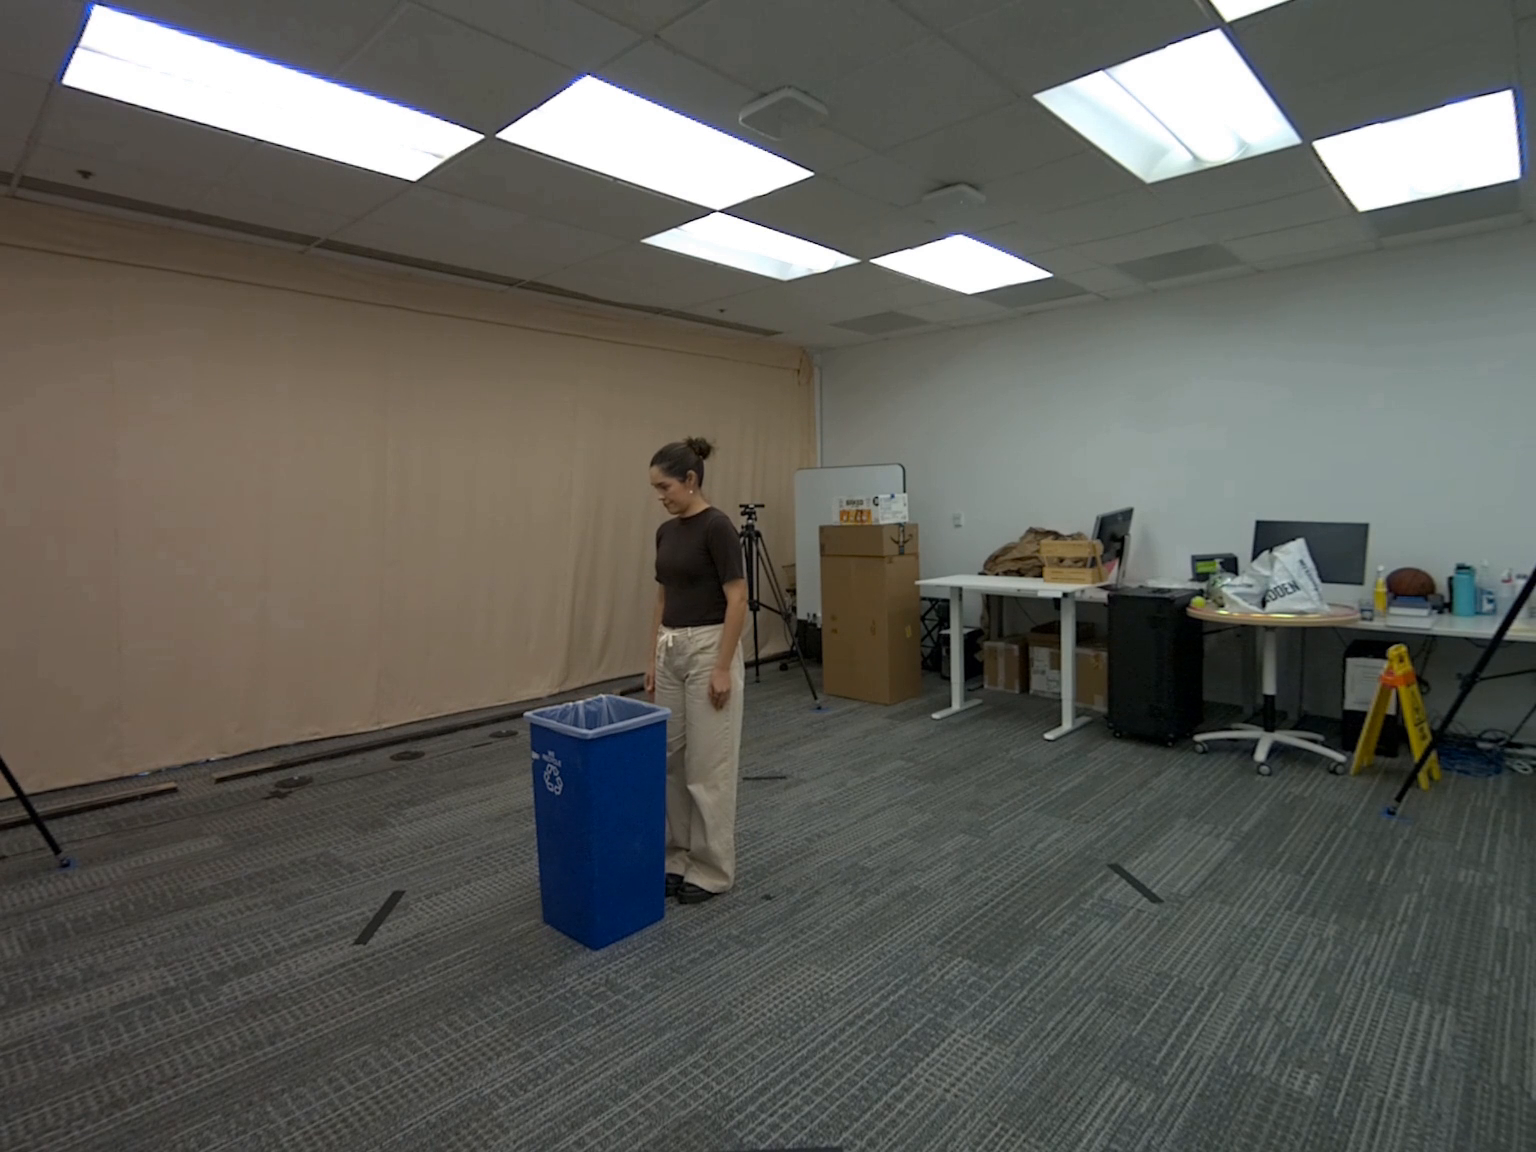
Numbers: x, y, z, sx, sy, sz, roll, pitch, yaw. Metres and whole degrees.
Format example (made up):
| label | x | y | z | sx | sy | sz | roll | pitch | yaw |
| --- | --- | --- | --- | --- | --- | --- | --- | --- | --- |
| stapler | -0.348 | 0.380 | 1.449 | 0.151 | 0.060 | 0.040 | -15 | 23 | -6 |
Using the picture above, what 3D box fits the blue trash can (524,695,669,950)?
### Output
| label | x | y | z | sx | sy | sz | roll | pitch | yaw |
| --- | --- | --- | --- | --- | --- | --- | --- | --- | --- |
| blue trash can | -0.566 | 0.808 | 2.823 | 0.390 | 0.712 | 0.363 | 2 | 5 | 42 |
